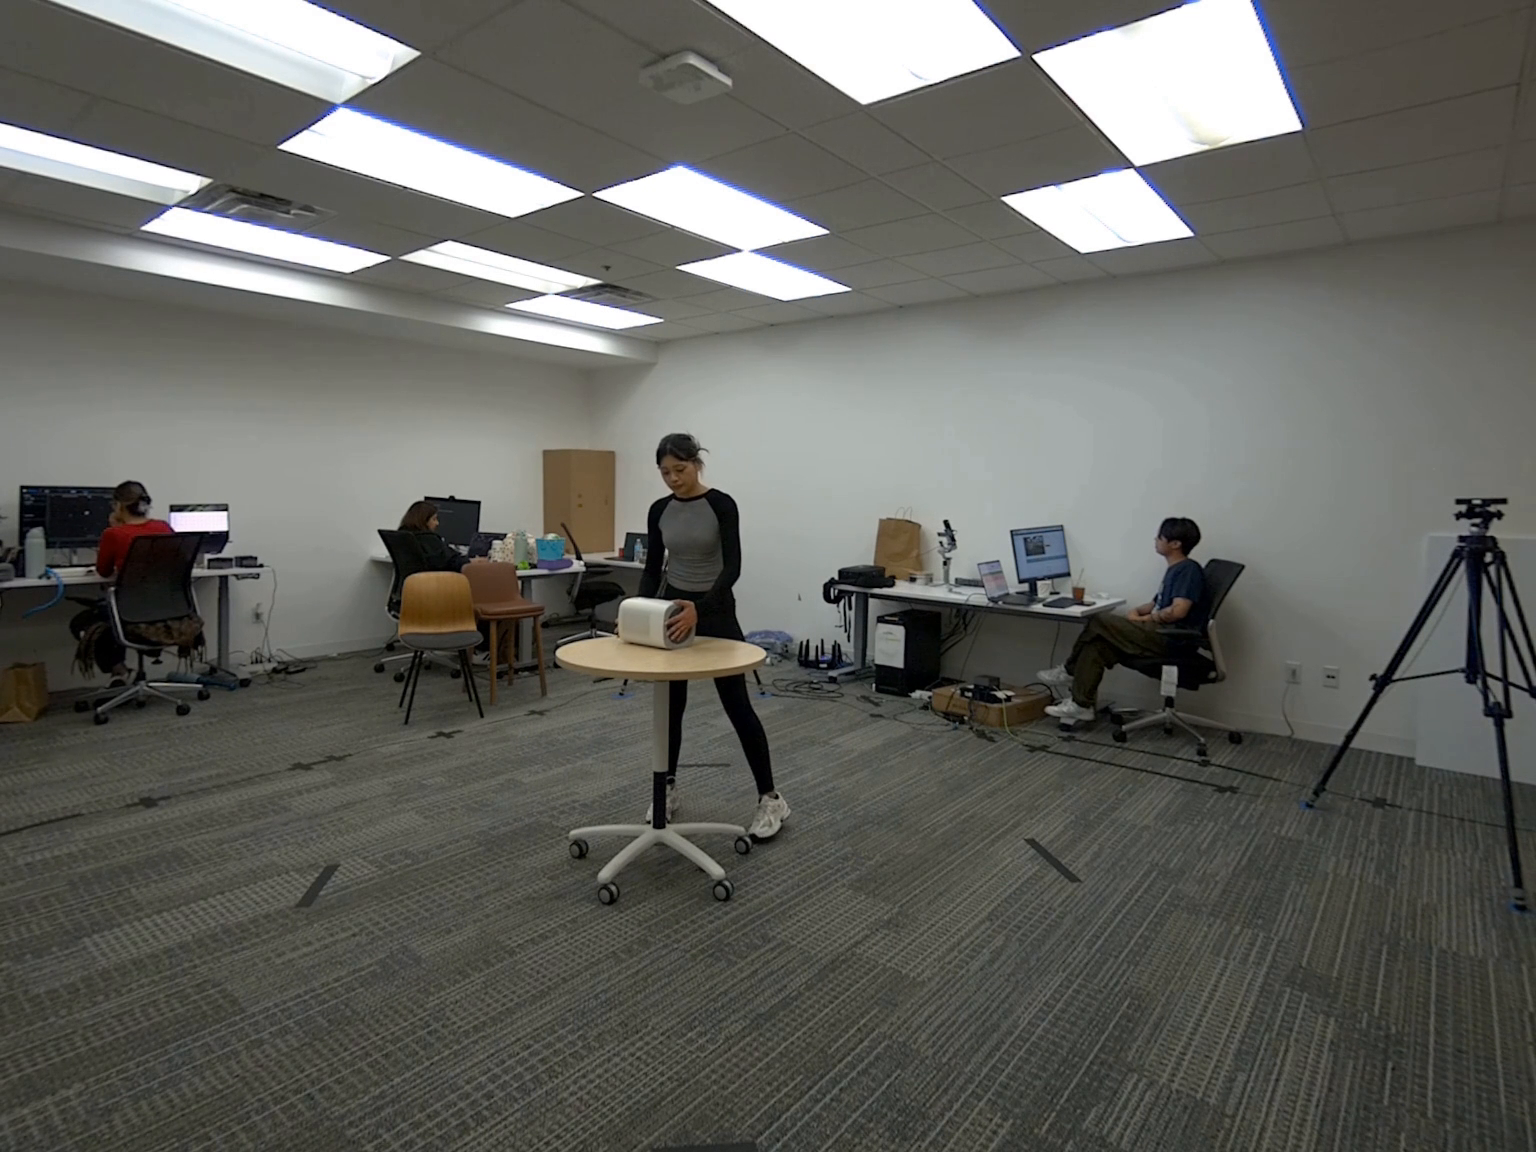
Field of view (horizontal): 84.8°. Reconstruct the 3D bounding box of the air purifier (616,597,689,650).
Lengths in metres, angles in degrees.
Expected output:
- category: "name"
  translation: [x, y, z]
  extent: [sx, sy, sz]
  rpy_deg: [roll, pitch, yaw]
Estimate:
- category: "air purifier"
  translation: [-0.440, 0.172, 3.250]
  extent: [0.274, 0.171, 0.166]
  rpy_deg: [4, 5, 39]
